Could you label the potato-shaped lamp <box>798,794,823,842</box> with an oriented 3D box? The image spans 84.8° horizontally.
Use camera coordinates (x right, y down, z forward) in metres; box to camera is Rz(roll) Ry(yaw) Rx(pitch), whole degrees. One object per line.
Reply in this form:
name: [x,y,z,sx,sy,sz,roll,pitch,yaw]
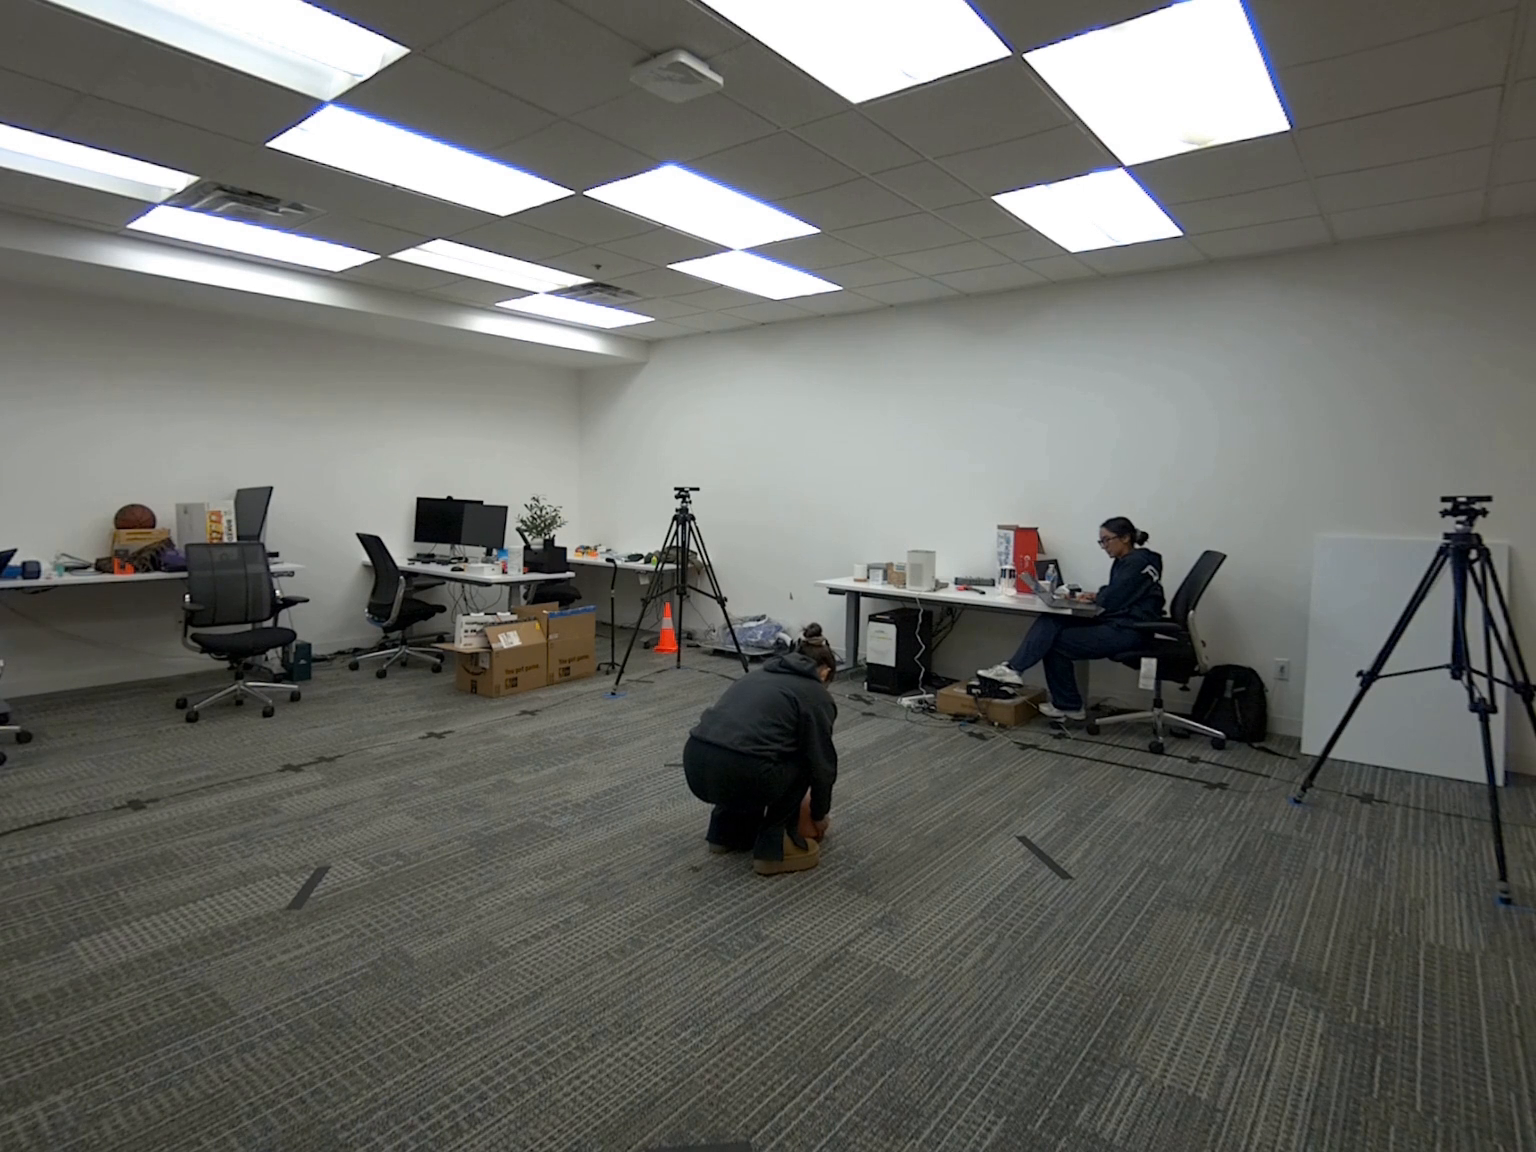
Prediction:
potato-shaped lamp: [0.147,0.941,3.418,0.170,0.197,0.167,3,5,31]
